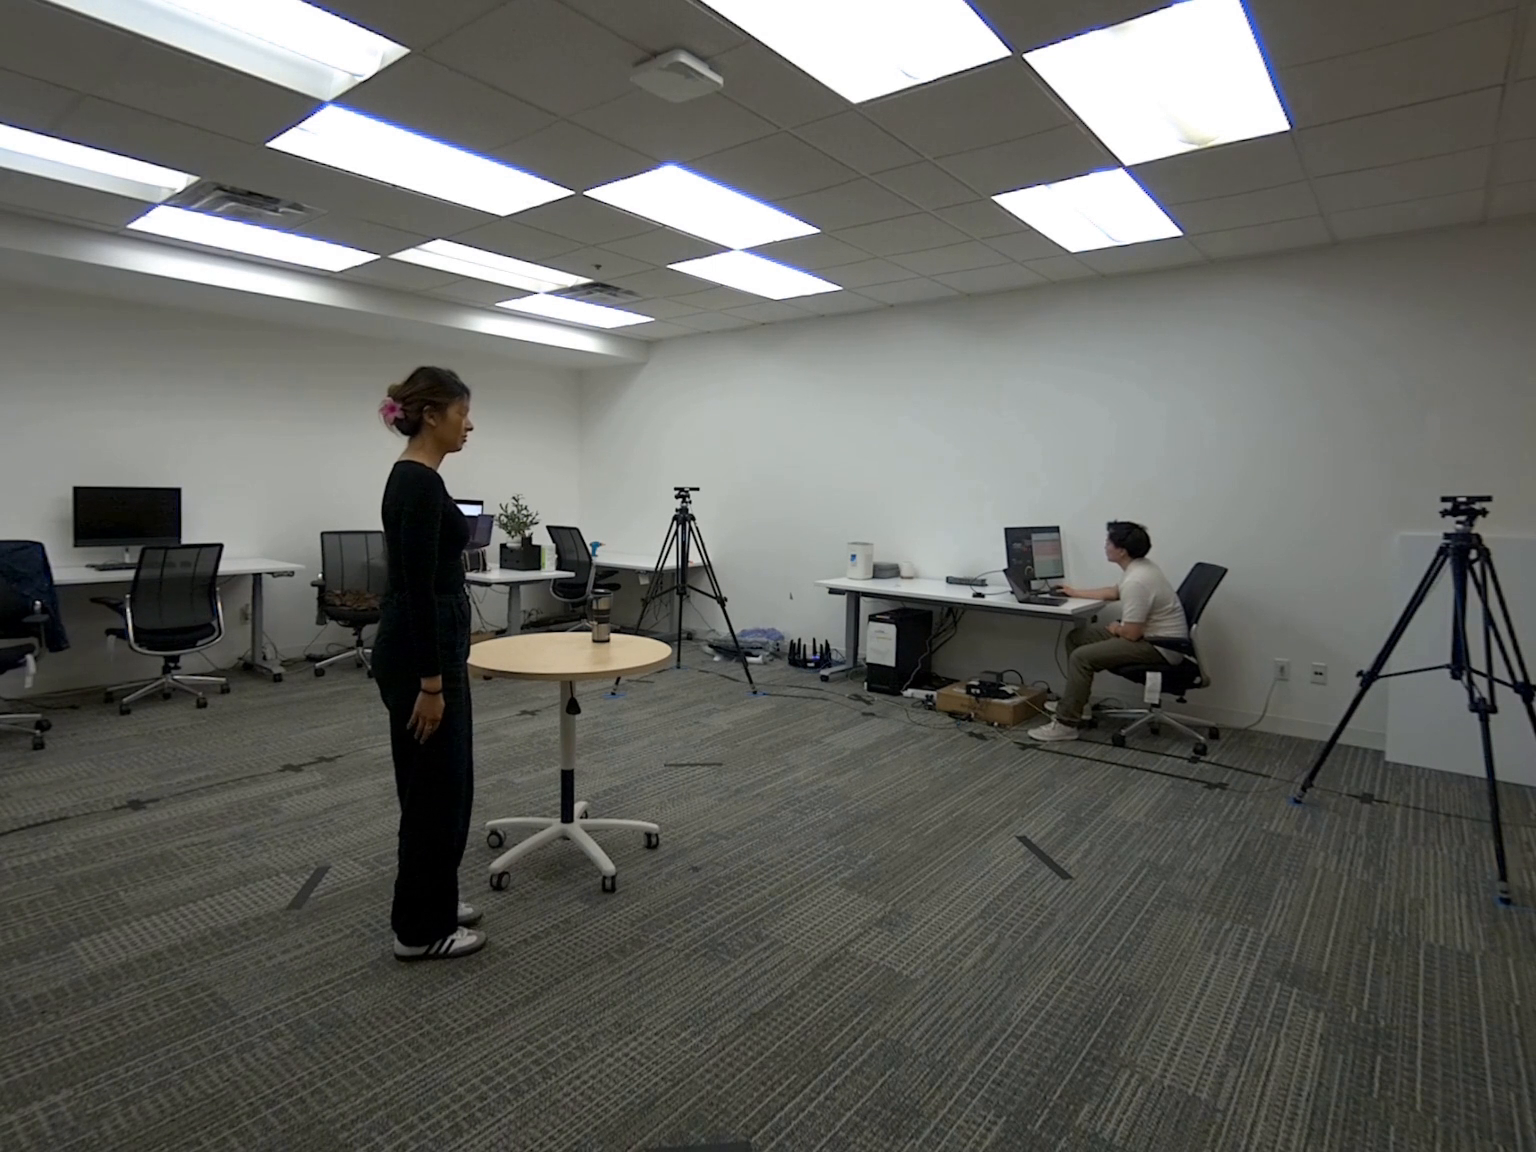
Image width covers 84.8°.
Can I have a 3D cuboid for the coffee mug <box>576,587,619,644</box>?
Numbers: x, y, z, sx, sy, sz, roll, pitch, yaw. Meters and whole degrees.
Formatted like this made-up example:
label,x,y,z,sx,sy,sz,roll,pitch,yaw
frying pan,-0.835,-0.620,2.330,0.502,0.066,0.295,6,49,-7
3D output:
label,x,y,z,sx,sy,sz,roll,pitch,yaw
coffee mug,-0.673,0.152,3.301,0.118,0.202,0.091,2,4,-38
